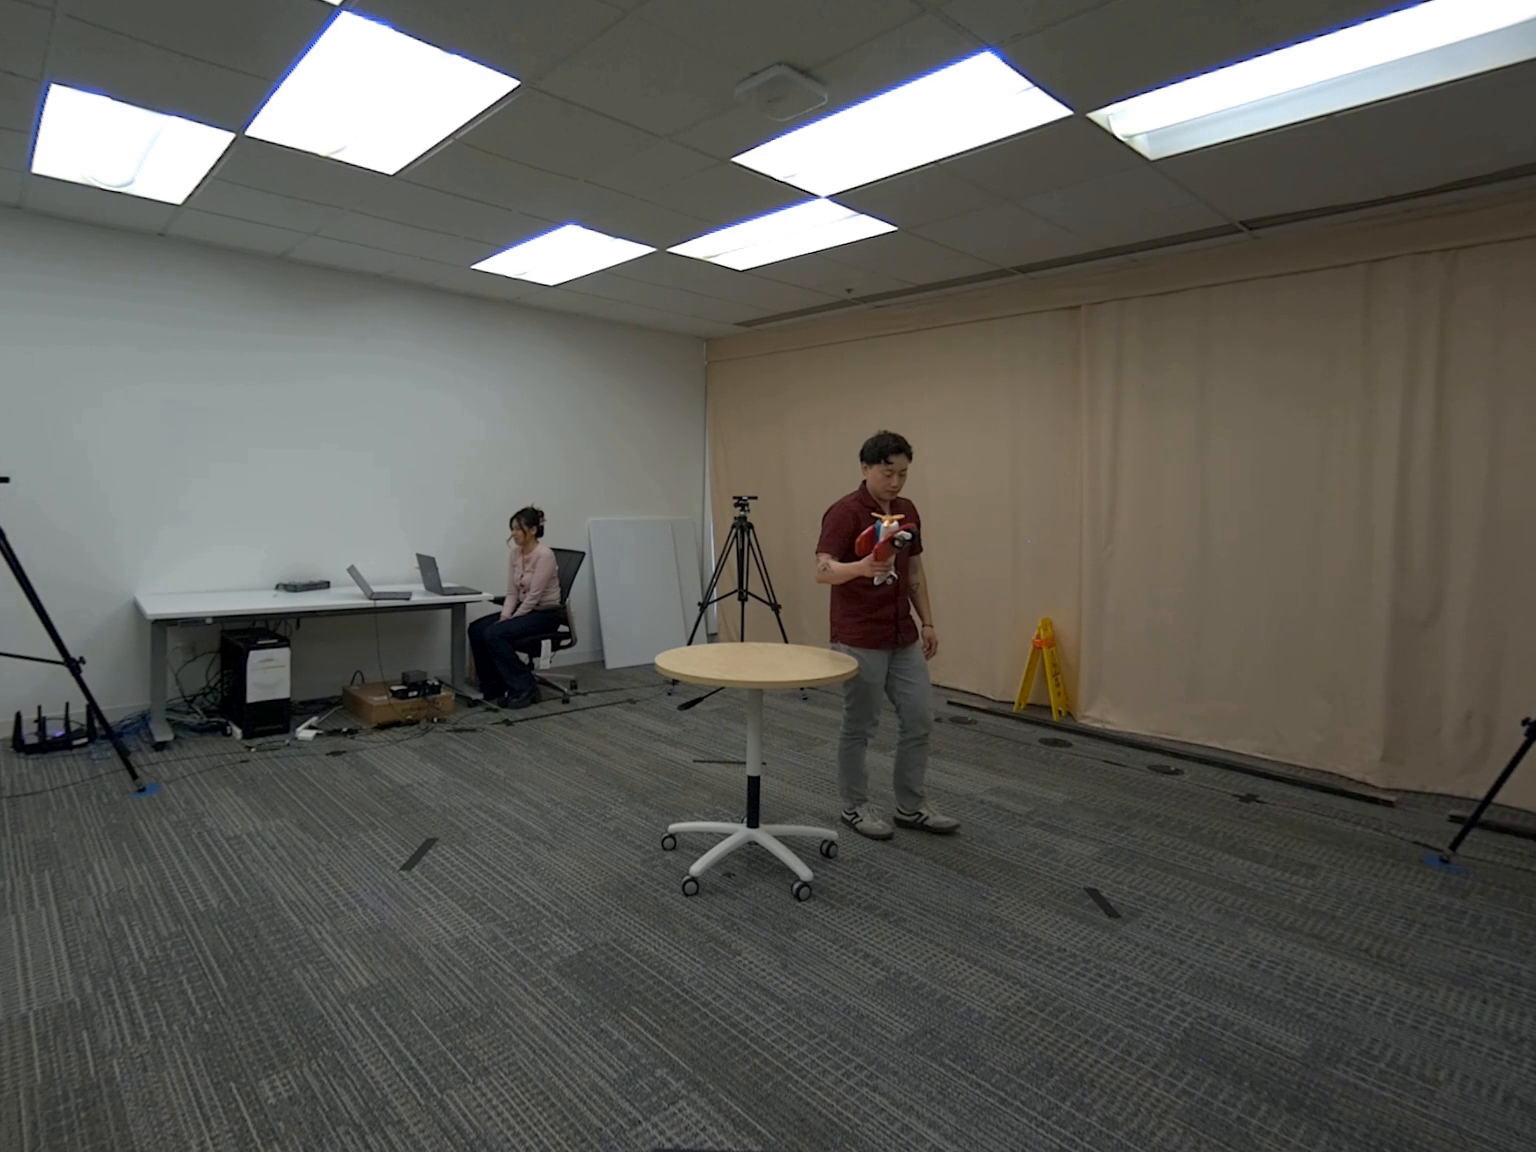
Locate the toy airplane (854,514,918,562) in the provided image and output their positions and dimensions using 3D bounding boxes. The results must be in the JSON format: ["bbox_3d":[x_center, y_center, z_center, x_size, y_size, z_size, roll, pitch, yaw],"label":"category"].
[{"bbox_3d":[0.411,-0.090,3.047,0.161,0.258,0.245,36,16,27],"label":"toy airplane"}]
